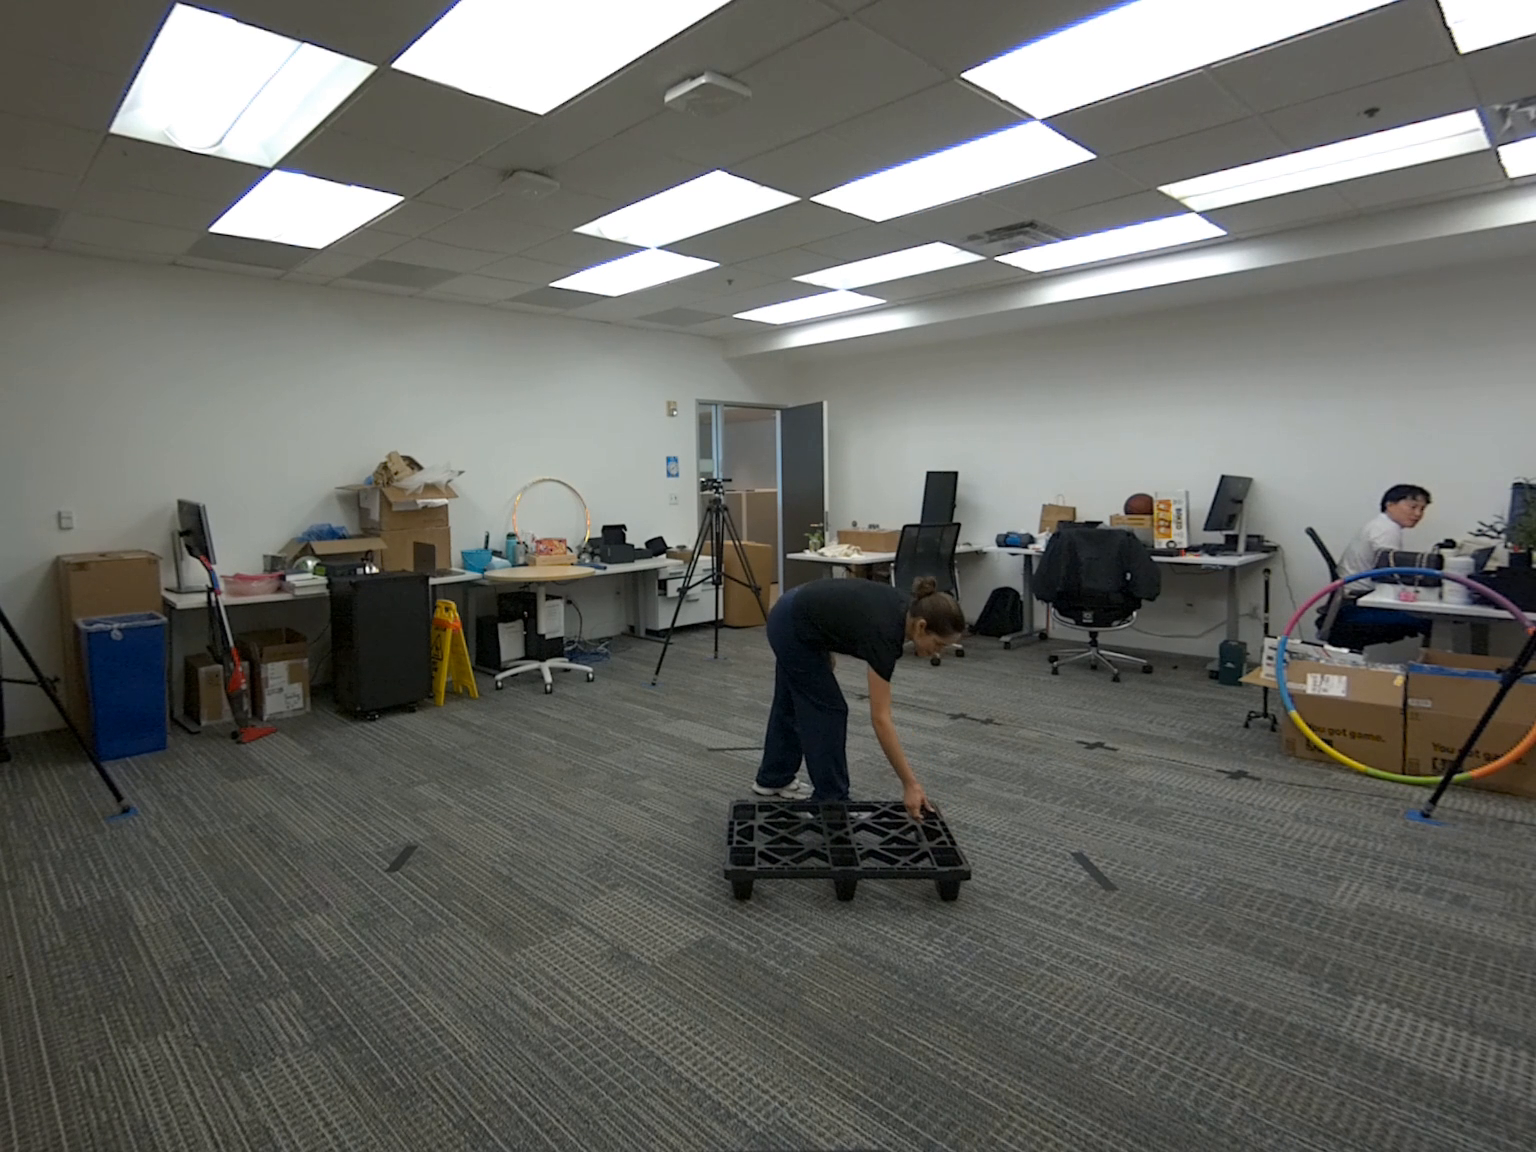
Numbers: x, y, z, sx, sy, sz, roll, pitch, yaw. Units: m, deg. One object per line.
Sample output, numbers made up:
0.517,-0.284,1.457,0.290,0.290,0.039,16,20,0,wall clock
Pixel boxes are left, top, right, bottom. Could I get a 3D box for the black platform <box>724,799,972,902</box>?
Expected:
0.252,0.977,3.061,0.807,0.142,0.607,-1,7,1,black platform
